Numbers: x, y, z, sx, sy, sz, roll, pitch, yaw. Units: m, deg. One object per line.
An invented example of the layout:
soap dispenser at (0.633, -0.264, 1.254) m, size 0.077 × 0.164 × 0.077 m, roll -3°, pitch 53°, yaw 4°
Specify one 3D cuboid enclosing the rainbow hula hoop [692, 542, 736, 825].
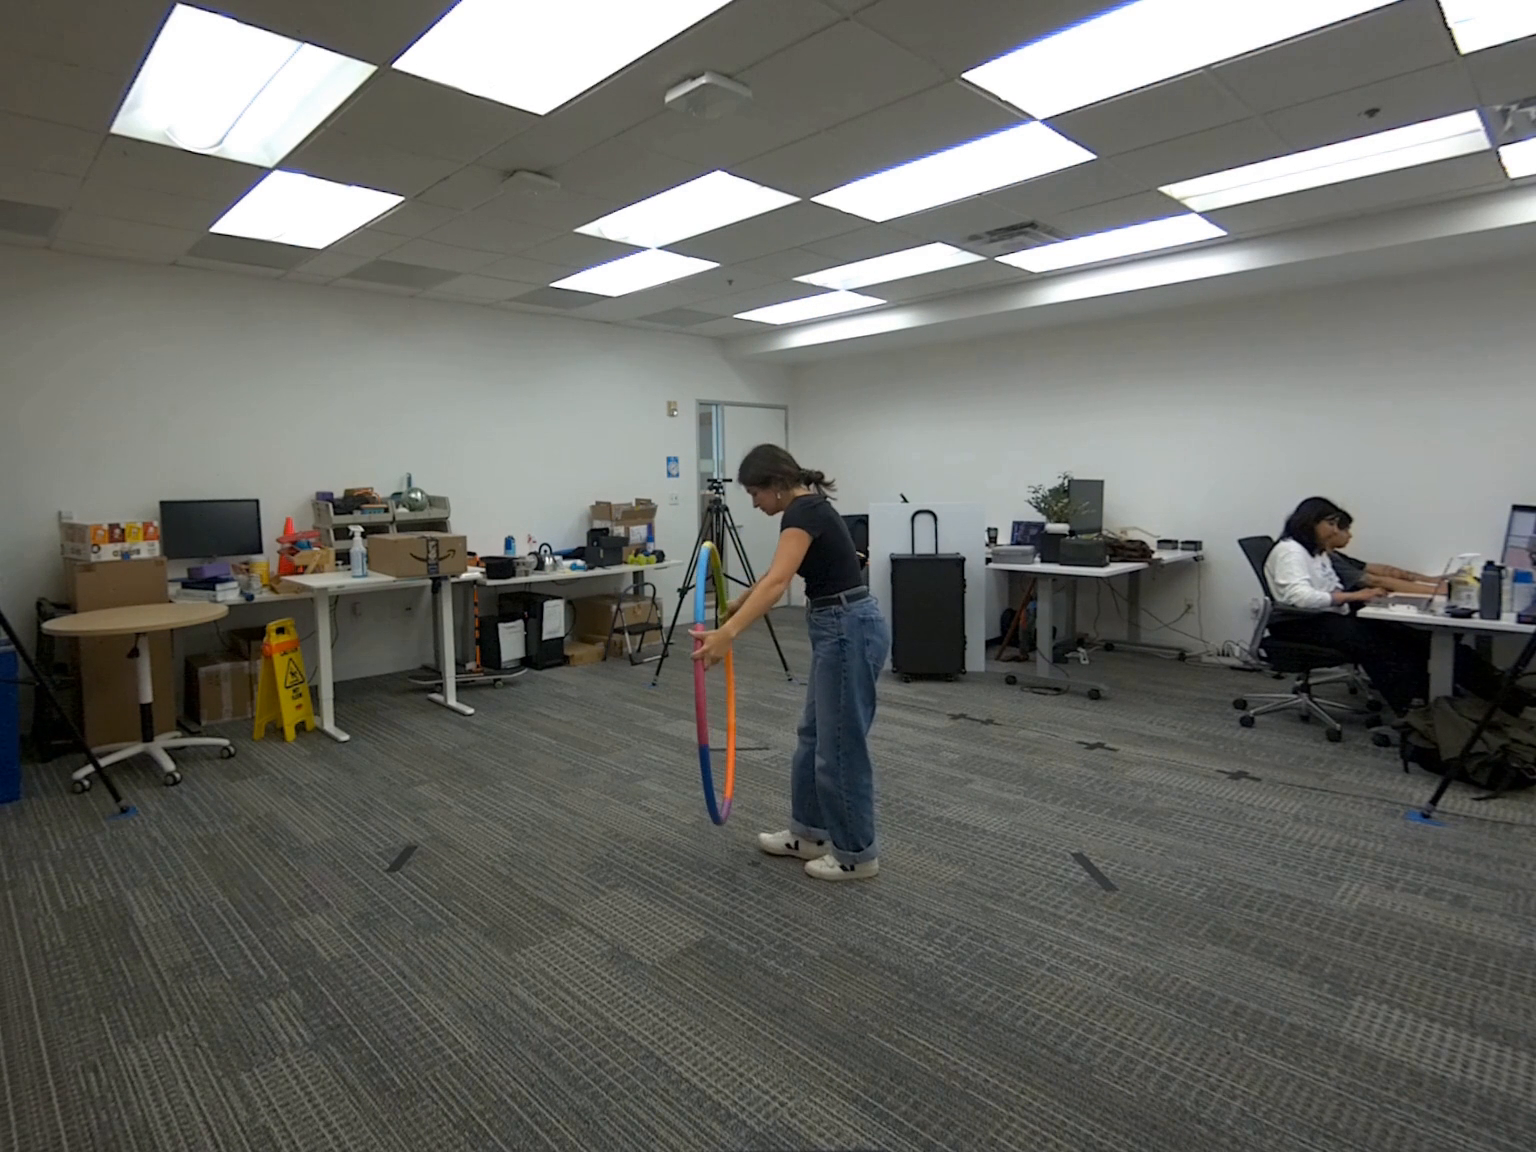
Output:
rainbow hula hoop at (-0.176, 0.373, 3.064) m, size 0.036 × 0.975 × 0.978 m, roll -2°, pitch 5°, yaw 3°
